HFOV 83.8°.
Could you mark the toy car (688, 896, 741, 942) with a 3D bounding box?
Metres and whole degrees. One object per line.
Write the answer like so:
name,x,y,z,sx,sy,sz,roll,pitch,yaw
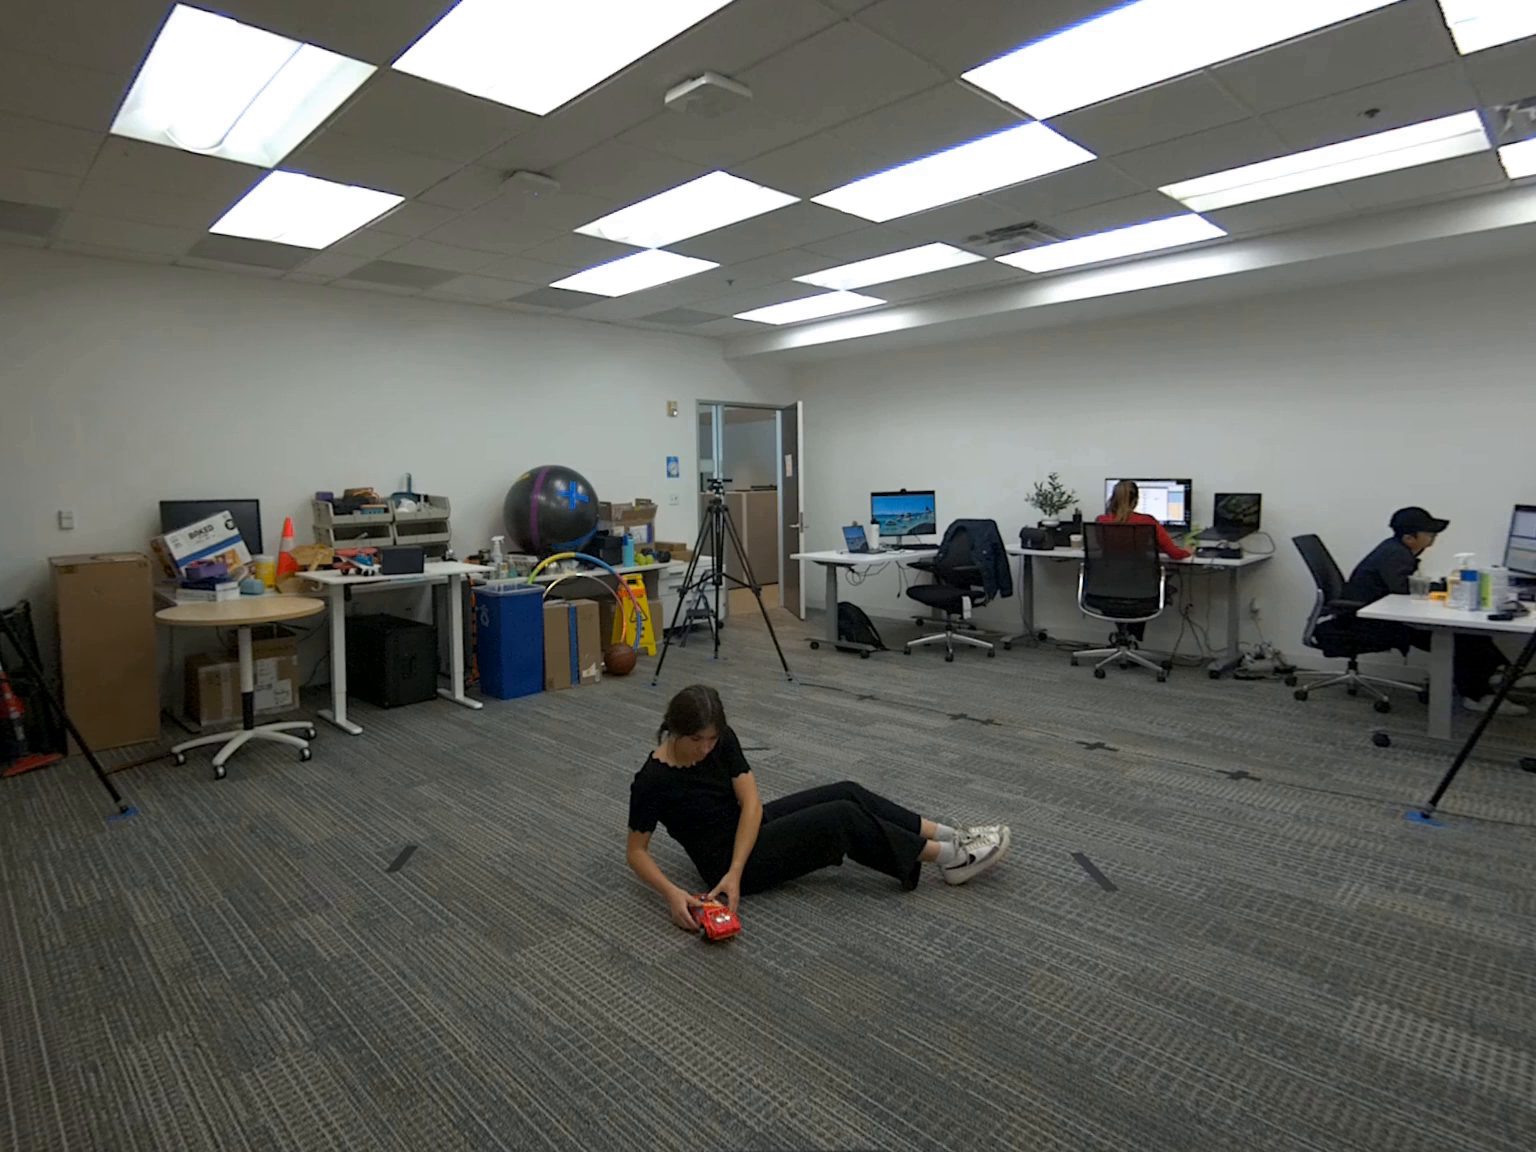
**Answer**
toy car,-0.163,1.058,2.647,0.127,0.084,0.258,-3,-7,-28
